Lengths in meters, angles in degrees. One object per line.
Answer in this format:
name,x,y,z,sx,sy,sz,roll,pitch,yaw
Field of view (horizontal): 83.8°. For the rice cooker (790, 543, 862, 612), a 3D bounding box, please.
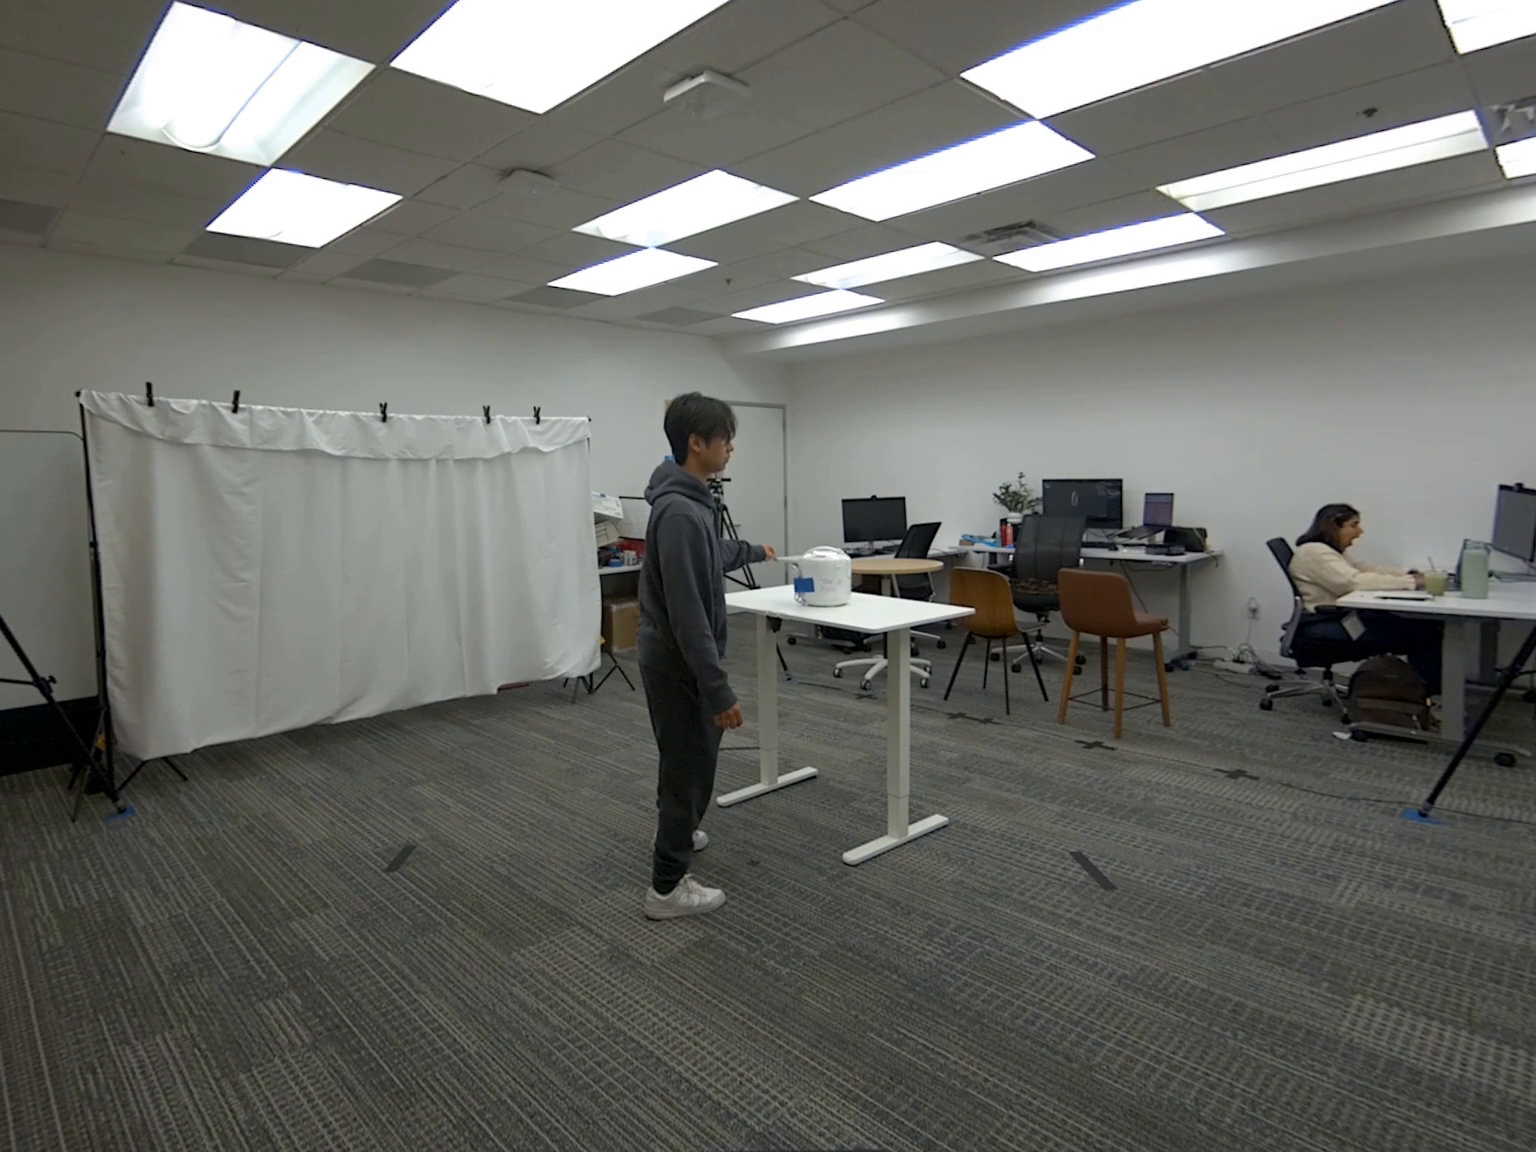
rice cooker,0.234,-0.002,3.461,0.226,0.231,0.213,3,8,27
